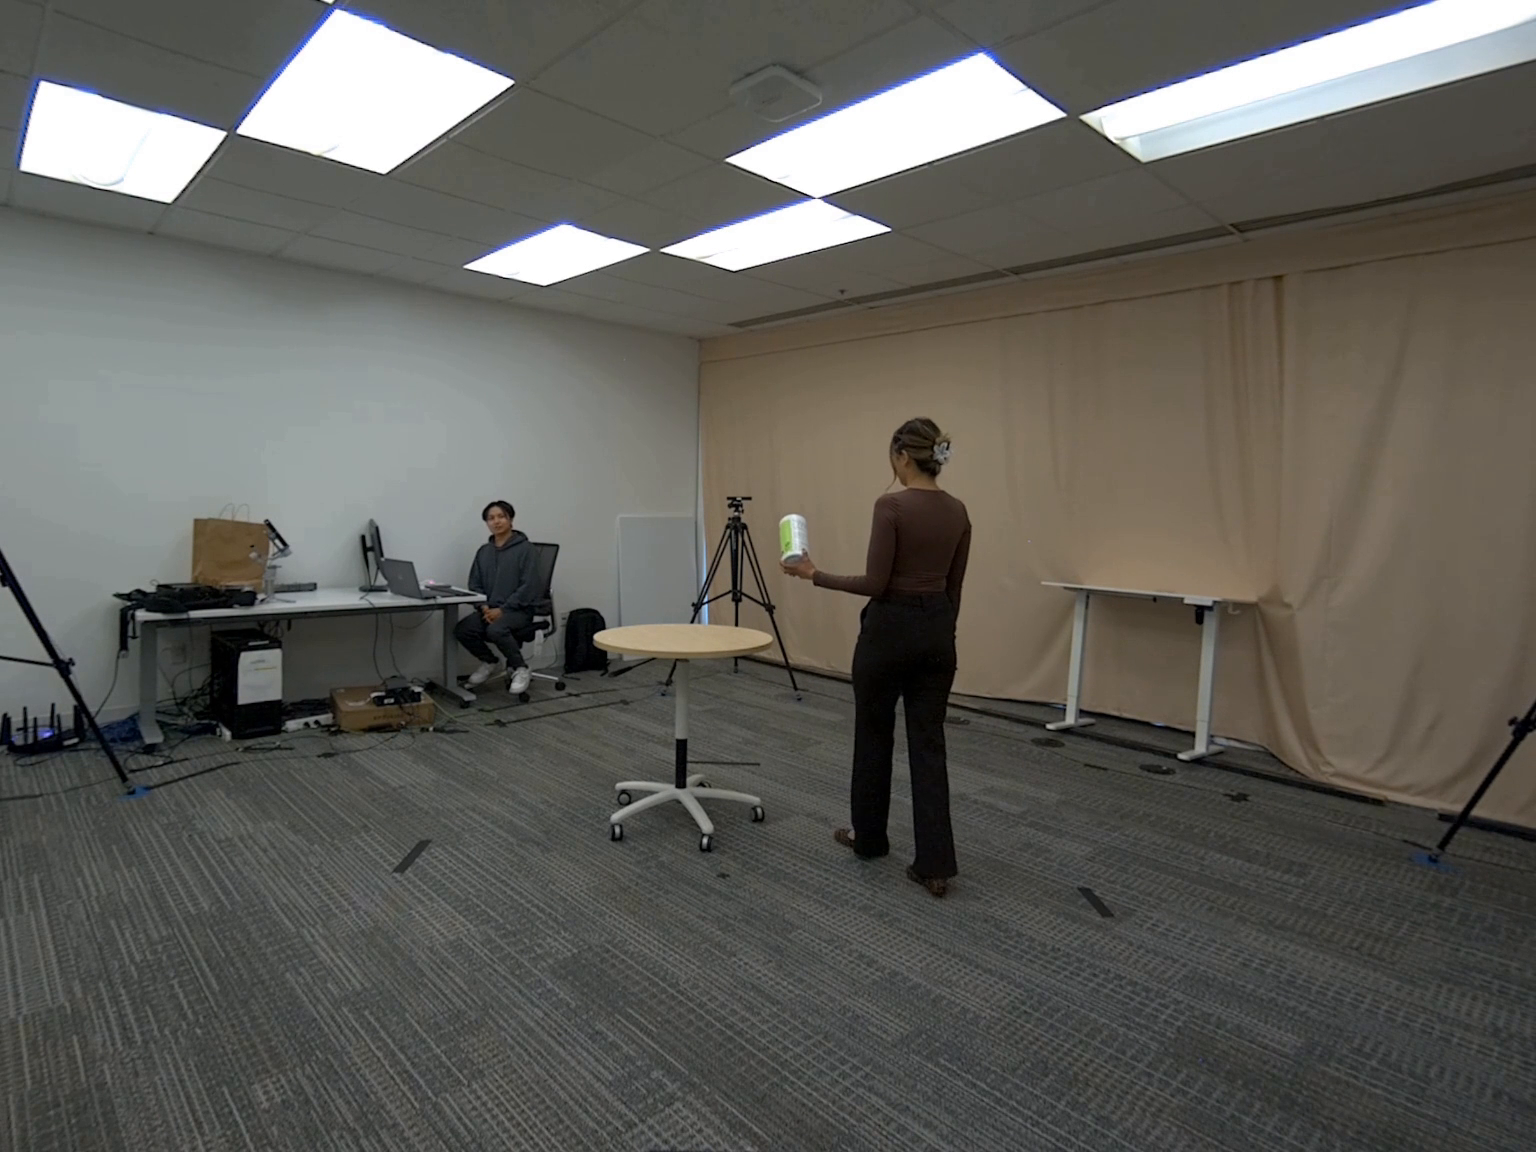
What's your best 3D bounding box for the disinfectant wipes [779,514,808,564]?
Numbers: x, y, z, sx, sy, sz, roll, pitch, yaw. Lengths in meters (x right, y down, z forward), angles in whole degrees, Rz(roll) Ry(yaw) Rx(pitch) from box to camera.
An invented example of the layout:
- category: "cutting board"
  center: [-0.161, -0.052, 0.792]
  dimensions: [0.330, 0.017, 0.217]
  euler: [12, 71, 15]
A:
- category: "disinfectant wipes"
  center: [0.103, -0.132, 3.303]
  dimensions: [0.118, 0.222, 0.115]
  euler: [0, -40, -2]
